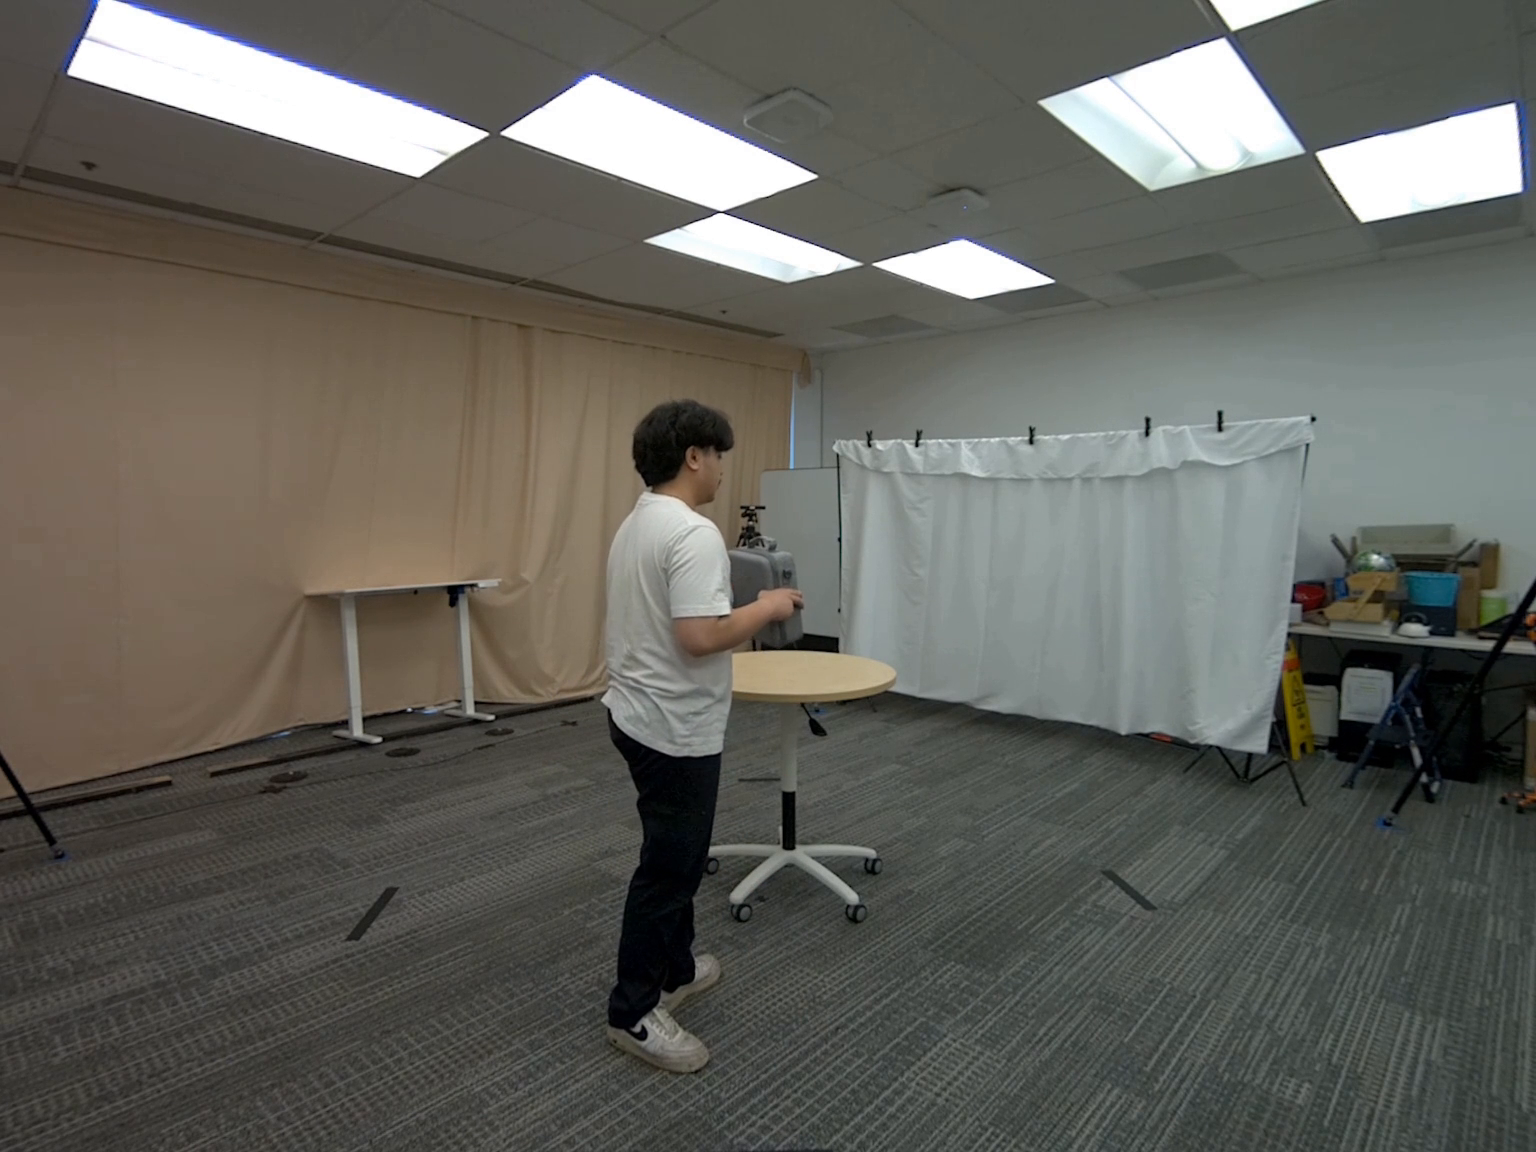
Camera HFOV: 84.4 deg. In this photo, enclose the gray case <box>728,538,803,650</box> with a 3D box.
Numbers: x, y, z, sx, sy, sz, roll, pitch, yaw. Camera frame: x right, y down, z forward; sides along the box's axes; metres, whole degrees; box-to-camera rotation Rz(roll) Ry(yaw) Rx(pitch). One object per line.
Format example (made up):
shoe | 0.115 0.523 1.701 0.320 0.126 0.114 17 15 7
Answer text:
gray case | -0.013 0.047 2.327 0.102 0.259 0.265 -8 11 -30
